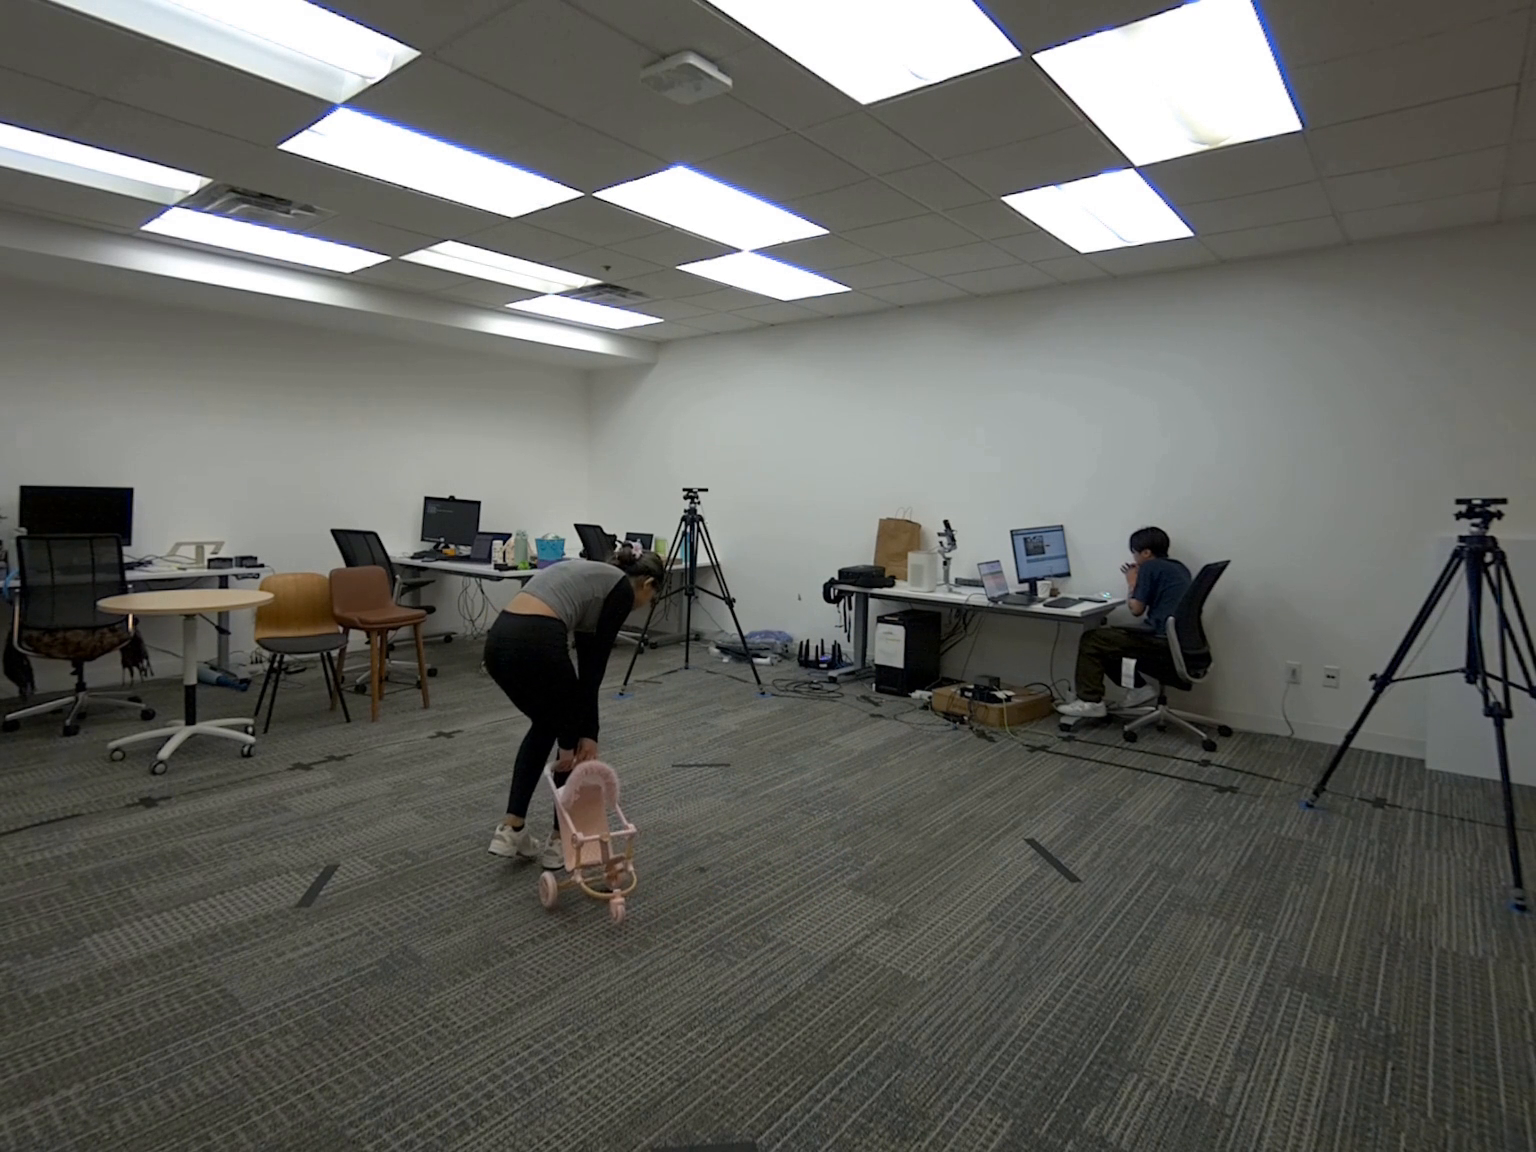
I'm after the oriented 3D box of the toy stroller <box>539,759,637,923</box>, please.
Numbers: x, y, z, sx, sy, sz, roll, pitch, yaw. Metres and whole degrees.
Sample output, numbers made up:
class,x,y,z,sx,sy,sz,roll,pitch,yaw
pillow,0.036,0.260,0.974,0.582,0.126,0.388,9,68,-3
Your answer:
class,x,y,z,sx,sy,sz,roll,pitch,yaw
toy stroller,-0.592,0.856,2.818,0.273,0.544,0.345,3,-19,-32
